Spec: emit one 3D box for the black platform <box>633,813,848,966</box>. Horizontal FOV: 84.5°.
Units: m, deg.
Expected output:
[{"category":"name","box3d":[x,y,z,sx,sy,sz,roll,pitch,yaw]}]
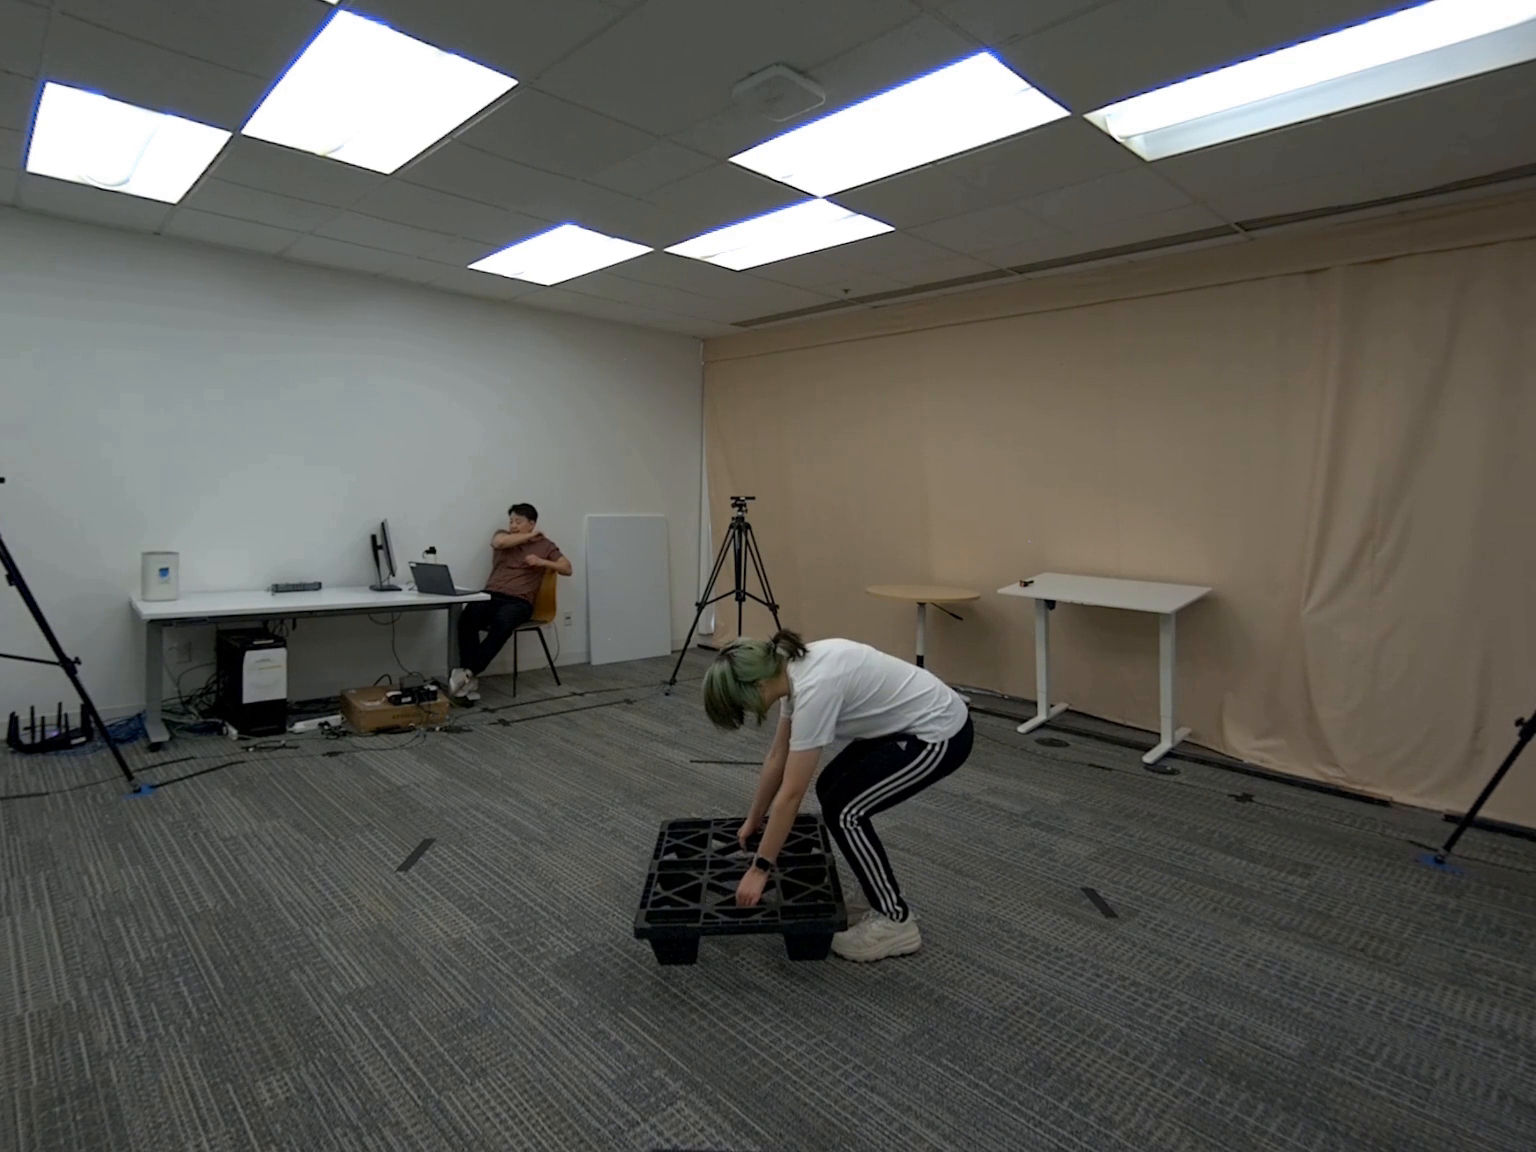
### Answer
[{"category":"black platform","box3d":[-0.086,0.985,2.722,0.605,0.143,0.807,-2,5,0]}]
